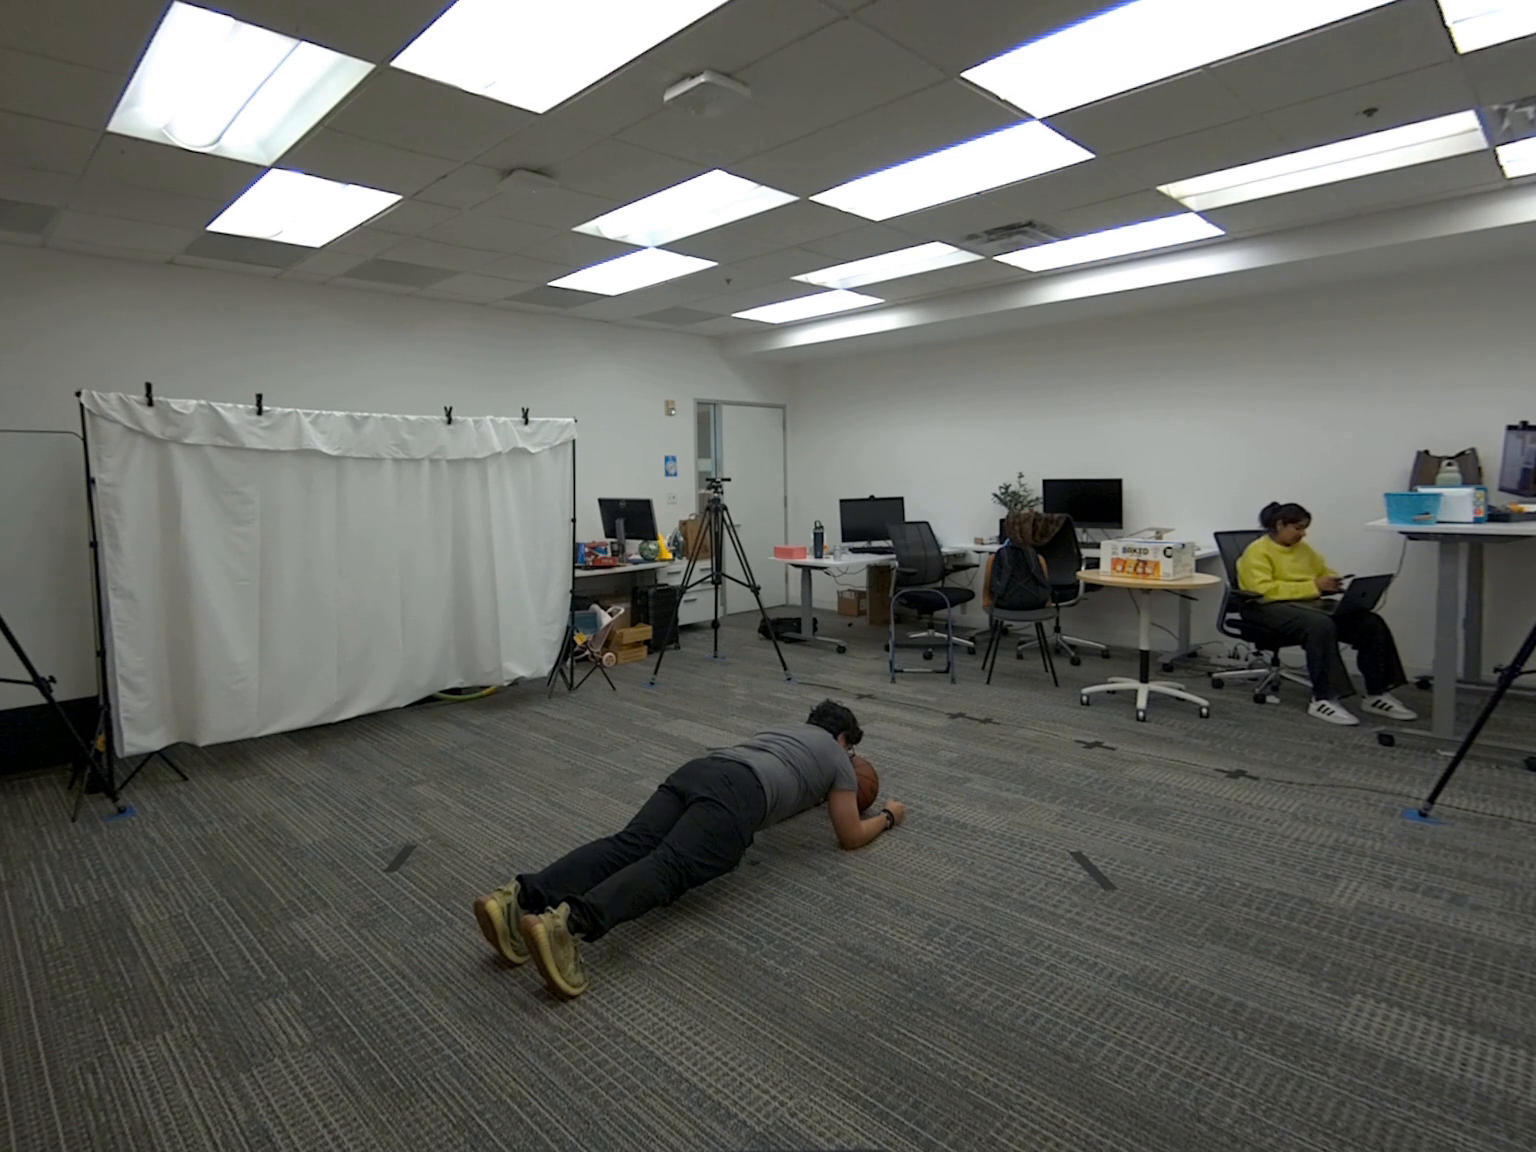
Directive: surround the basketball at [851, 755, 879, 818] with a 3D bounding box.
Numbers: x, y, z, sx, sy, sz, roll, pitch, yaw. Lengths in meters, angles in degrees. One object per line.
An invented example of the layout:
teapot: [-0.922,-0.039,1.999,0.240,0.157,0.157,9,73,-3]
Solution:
basketball: [0.346,0.863,3.560,0.236,0.235,0.237,-1,5,-2]
